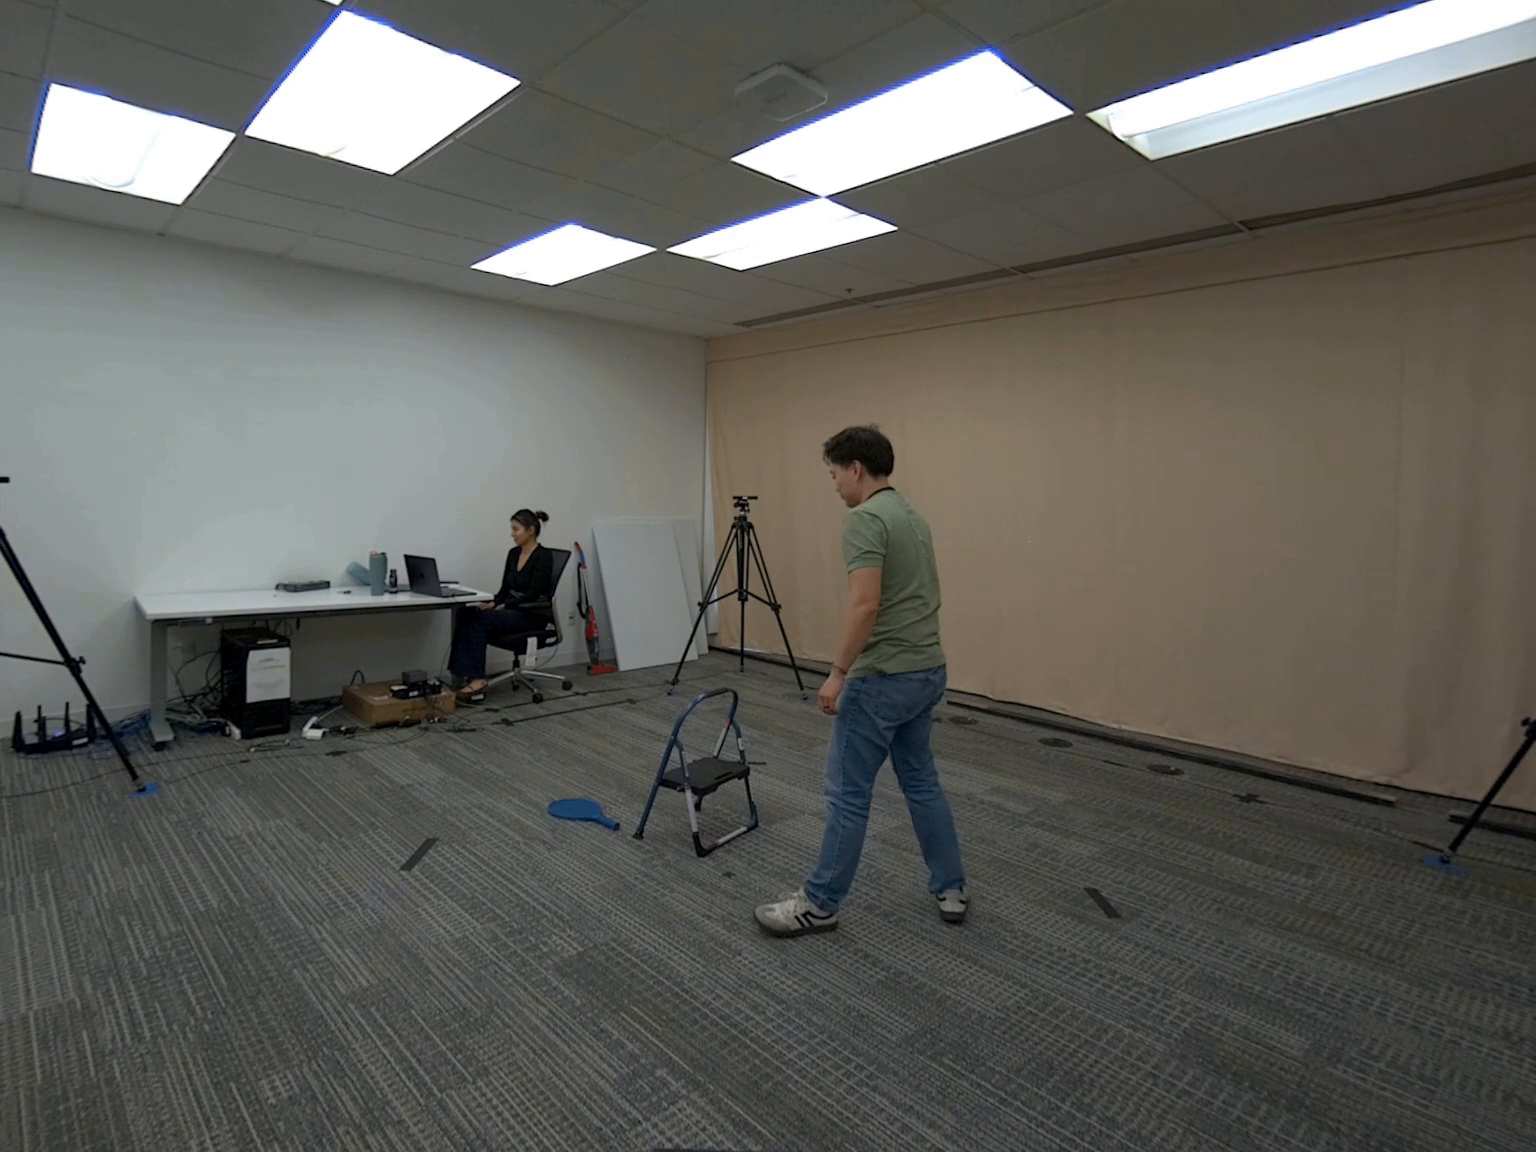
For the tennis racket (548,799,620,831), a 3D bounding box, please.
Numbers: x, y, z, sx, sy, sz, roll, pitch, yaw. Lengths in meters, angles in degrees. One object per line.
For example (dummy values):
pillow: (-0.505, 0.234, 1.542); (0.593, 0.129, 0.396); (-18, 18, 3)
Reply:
tennis racket: (-0.793, 1.020, 3.641); (0.209, 0.032, 0.444); (-4, 6, -45)
